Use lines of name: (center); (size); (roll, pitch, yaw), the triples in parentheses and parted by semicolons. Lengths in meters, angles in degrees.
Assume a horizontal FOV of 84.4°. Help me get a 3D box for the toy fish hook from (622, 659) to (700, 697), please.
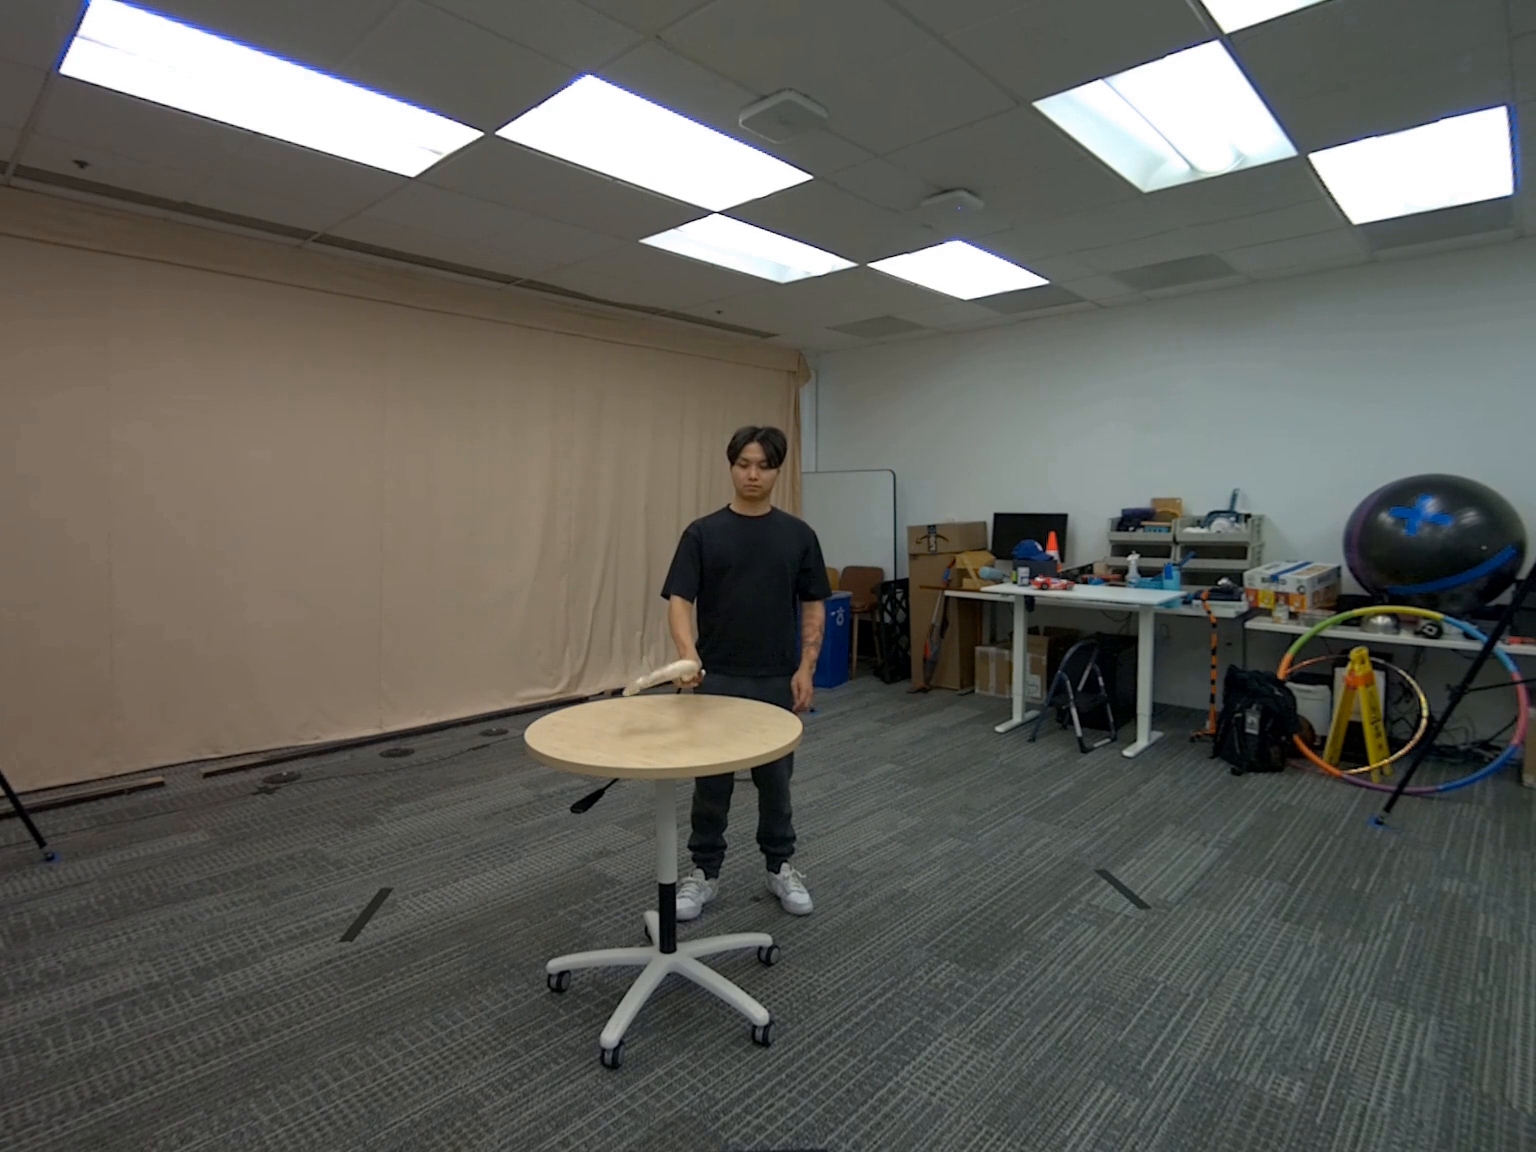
toy fish hook: (-0.294, 0.302, 2.433); (0.225, 0.049, 0.499); (-18, -11, 2)
